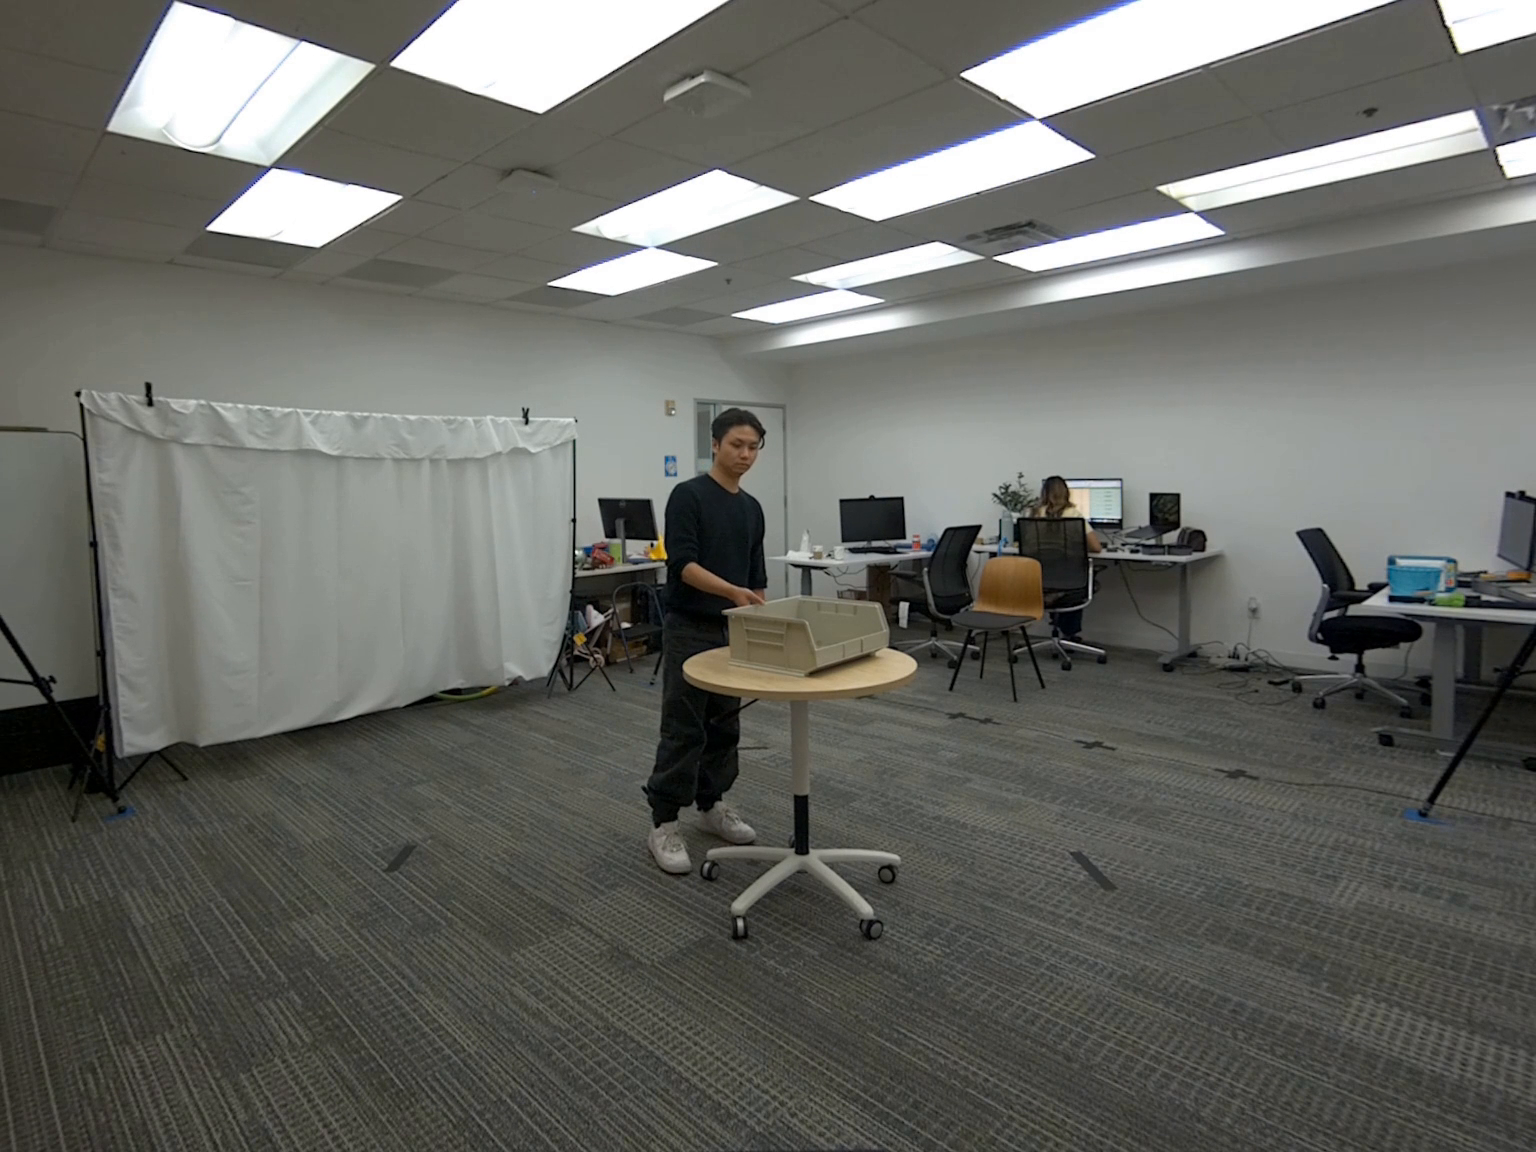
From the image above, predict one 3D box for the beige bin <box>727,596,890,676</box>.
[{"bbox_3d":[0.130,0.194,2.848,0.388,0.188,0.412,3,7,41],"label":"beige bin"}]
